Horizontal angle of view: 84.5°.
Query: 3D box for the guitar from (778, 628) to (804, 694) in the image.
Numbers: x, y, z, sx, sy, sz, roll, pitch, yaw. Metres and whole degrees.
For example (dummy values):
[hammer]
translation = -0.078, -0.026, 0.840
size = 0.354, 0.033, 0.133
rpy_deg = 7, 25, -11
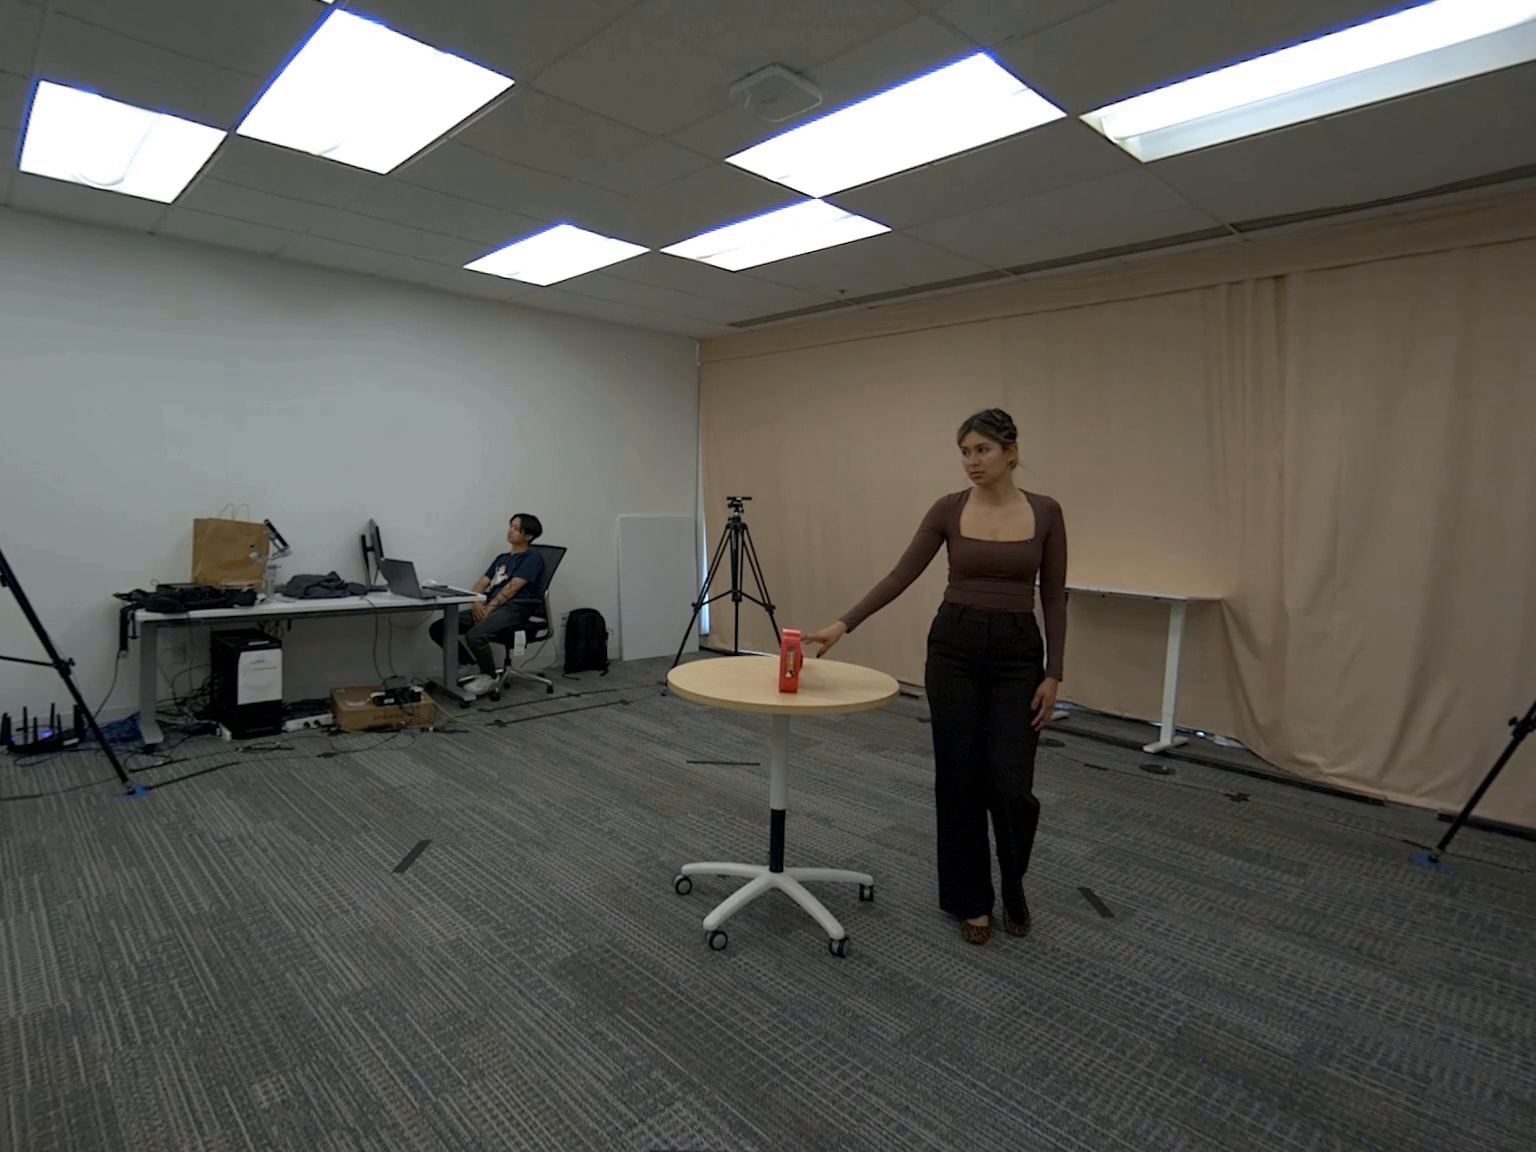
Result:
[guitar]
translation = 0.073, 0.297, 2.798
size = 0.071, 0.194, 0.492
rpy_deg = 5, -12, 3
